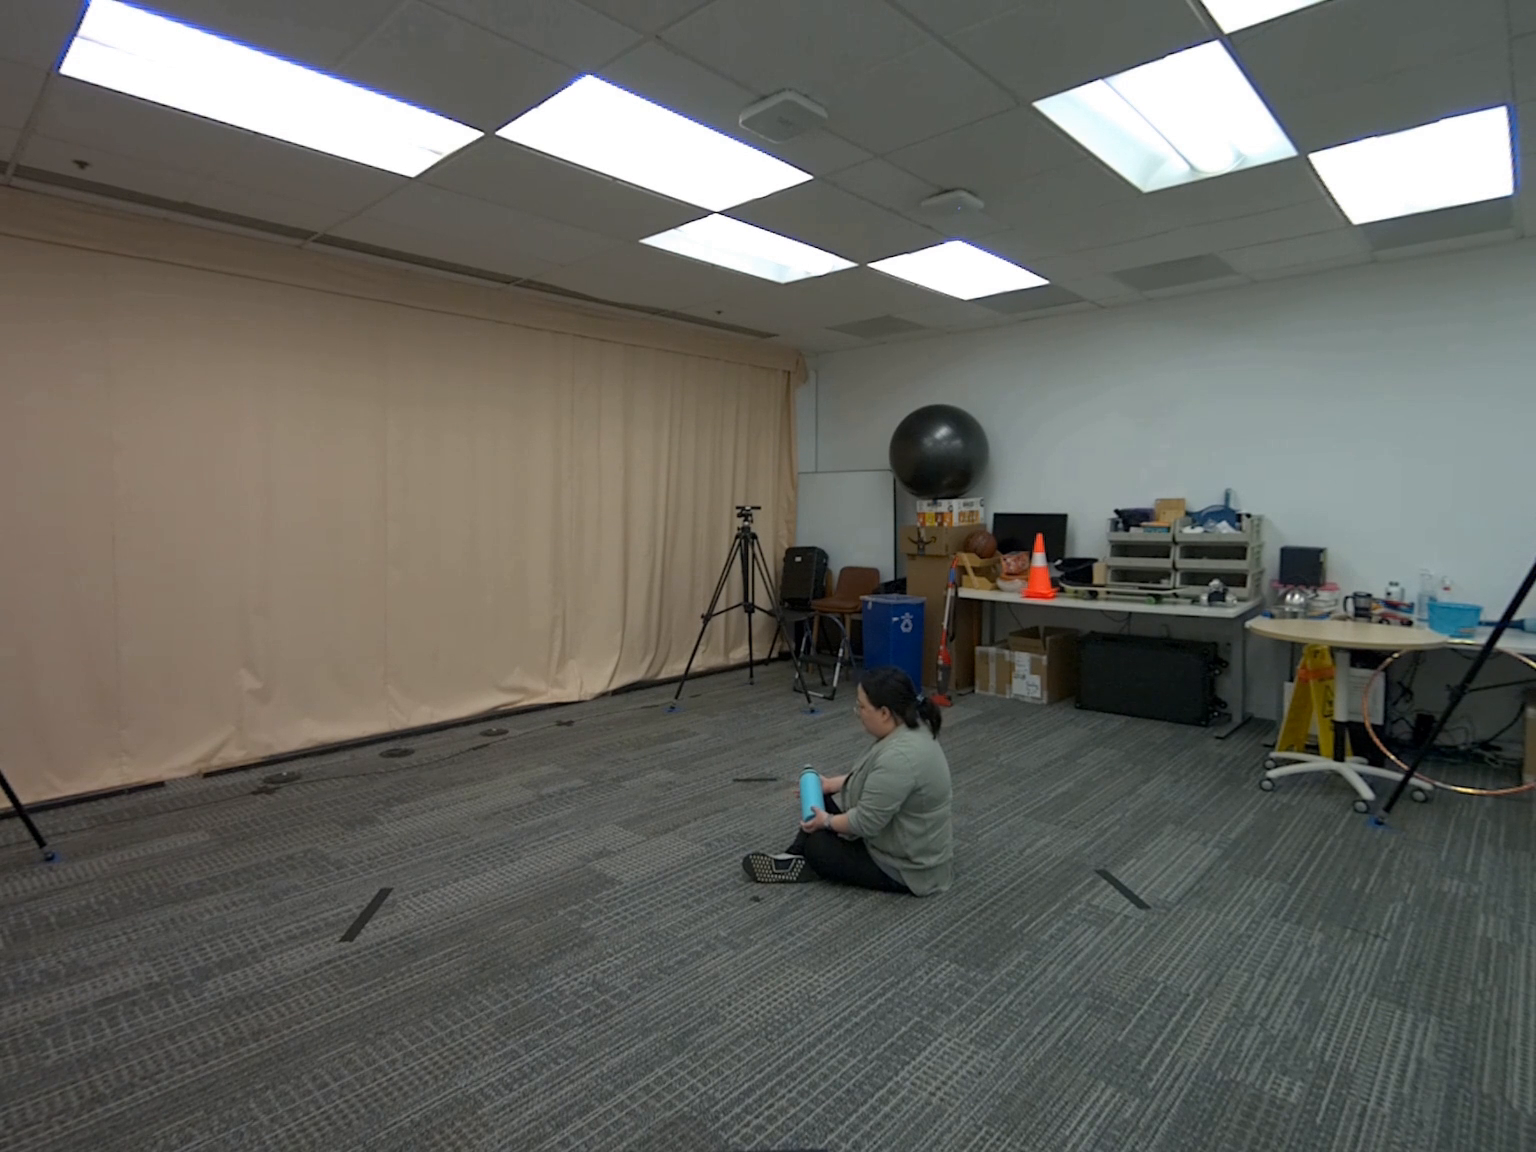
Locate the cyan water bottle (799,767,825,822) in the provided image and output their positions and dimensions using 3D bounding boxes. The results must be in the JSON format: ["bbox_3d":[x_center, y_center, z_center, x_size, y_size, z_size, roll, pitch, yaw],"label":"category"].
[{"bbox_3d":[0.175,0.869,3.304,0.092,0.091,0.288,-1,29,-1],"label":"cyan water bottle"}]
